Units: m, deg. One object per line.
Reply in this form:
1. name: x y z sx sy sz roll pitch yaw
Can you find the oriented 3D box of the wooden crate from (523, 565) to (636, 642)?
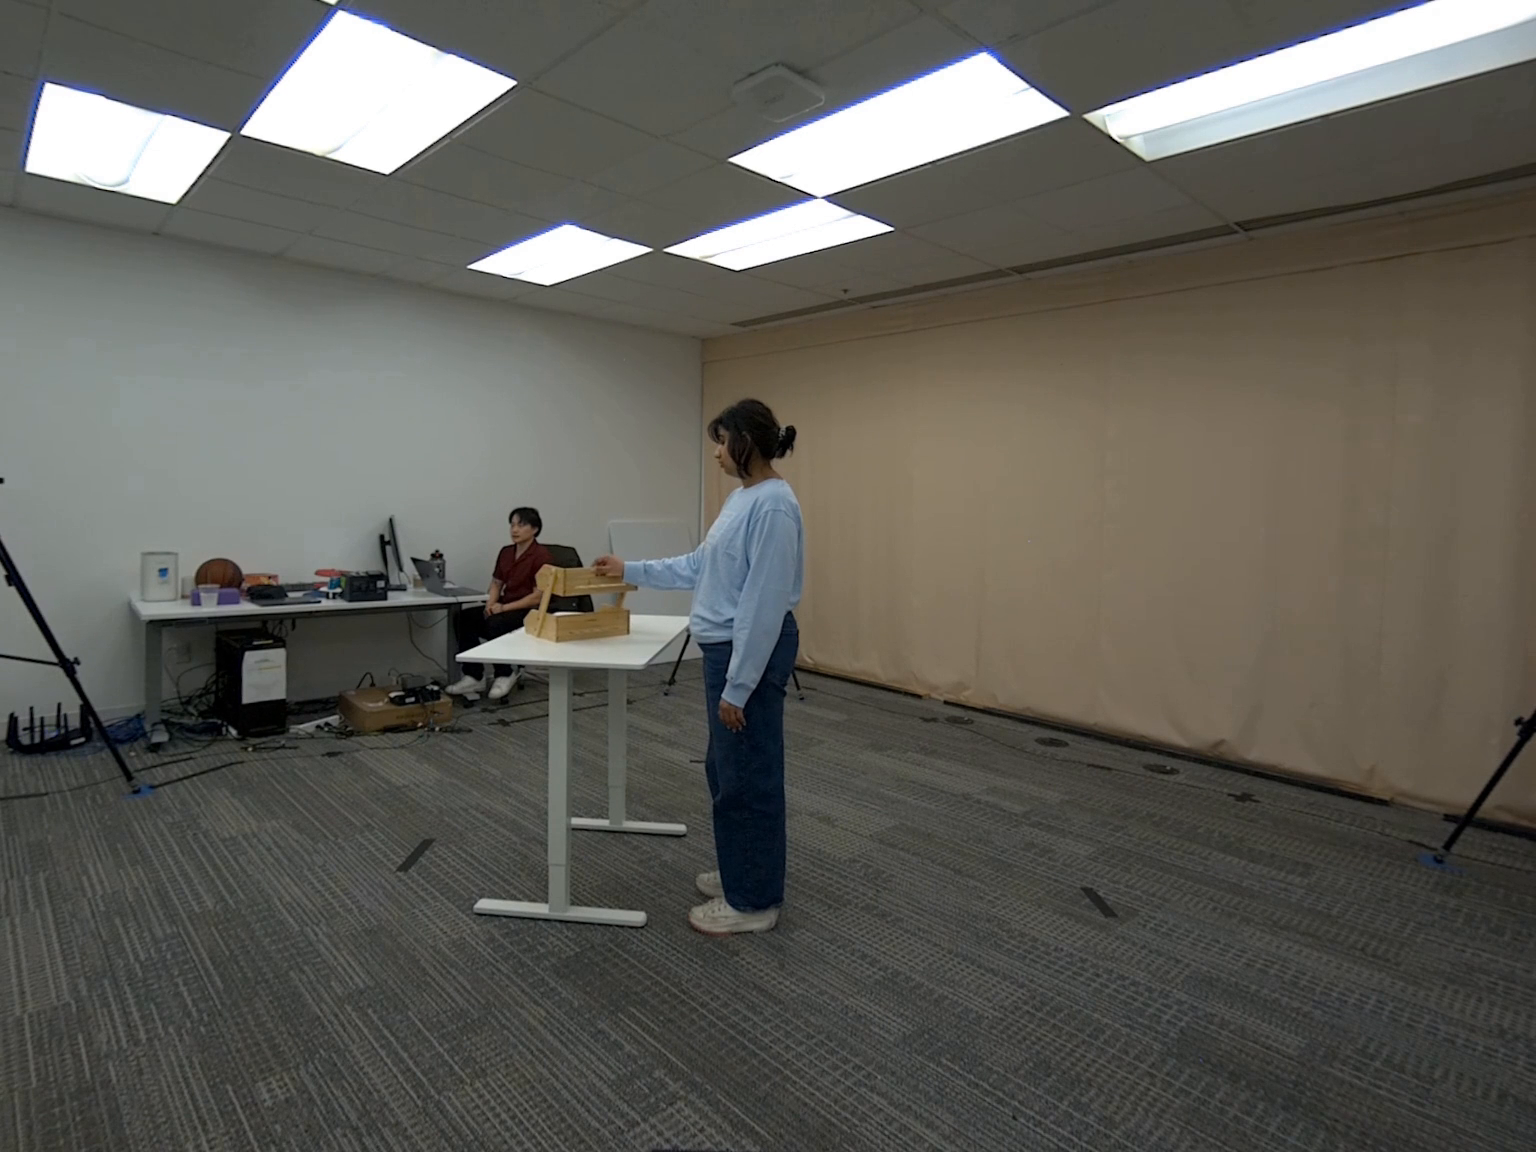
1. wooden crate: -0.693 0.081 3.061 0.317 0.272 0.310 -3 7 -40
